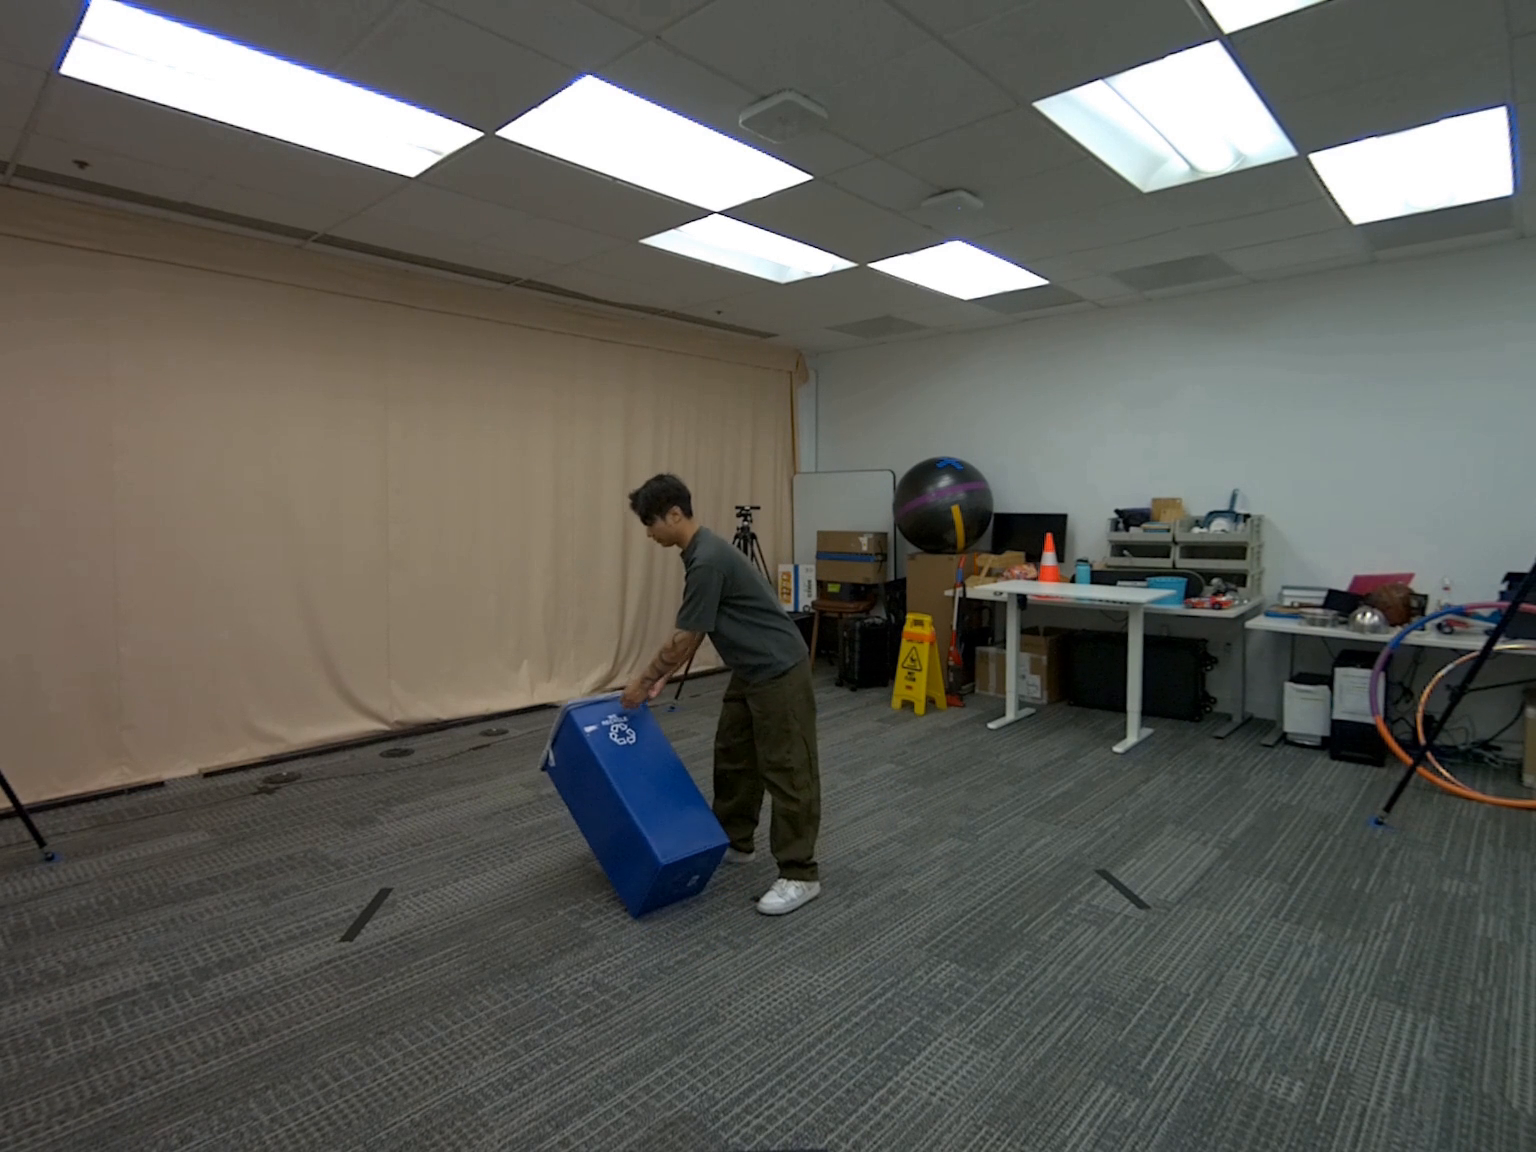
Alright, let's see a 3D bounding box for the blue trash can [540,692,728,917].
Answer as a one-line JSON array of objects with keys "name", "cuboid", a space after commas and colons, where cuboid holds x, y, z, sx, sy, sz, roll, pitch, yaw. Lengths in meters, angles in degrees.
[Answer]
[{"name": "blue trash can", "cuboid": [-0.486, 0.815, 3.073, 0.366, 0.373, 0.738, -2, 38, -42]}]
